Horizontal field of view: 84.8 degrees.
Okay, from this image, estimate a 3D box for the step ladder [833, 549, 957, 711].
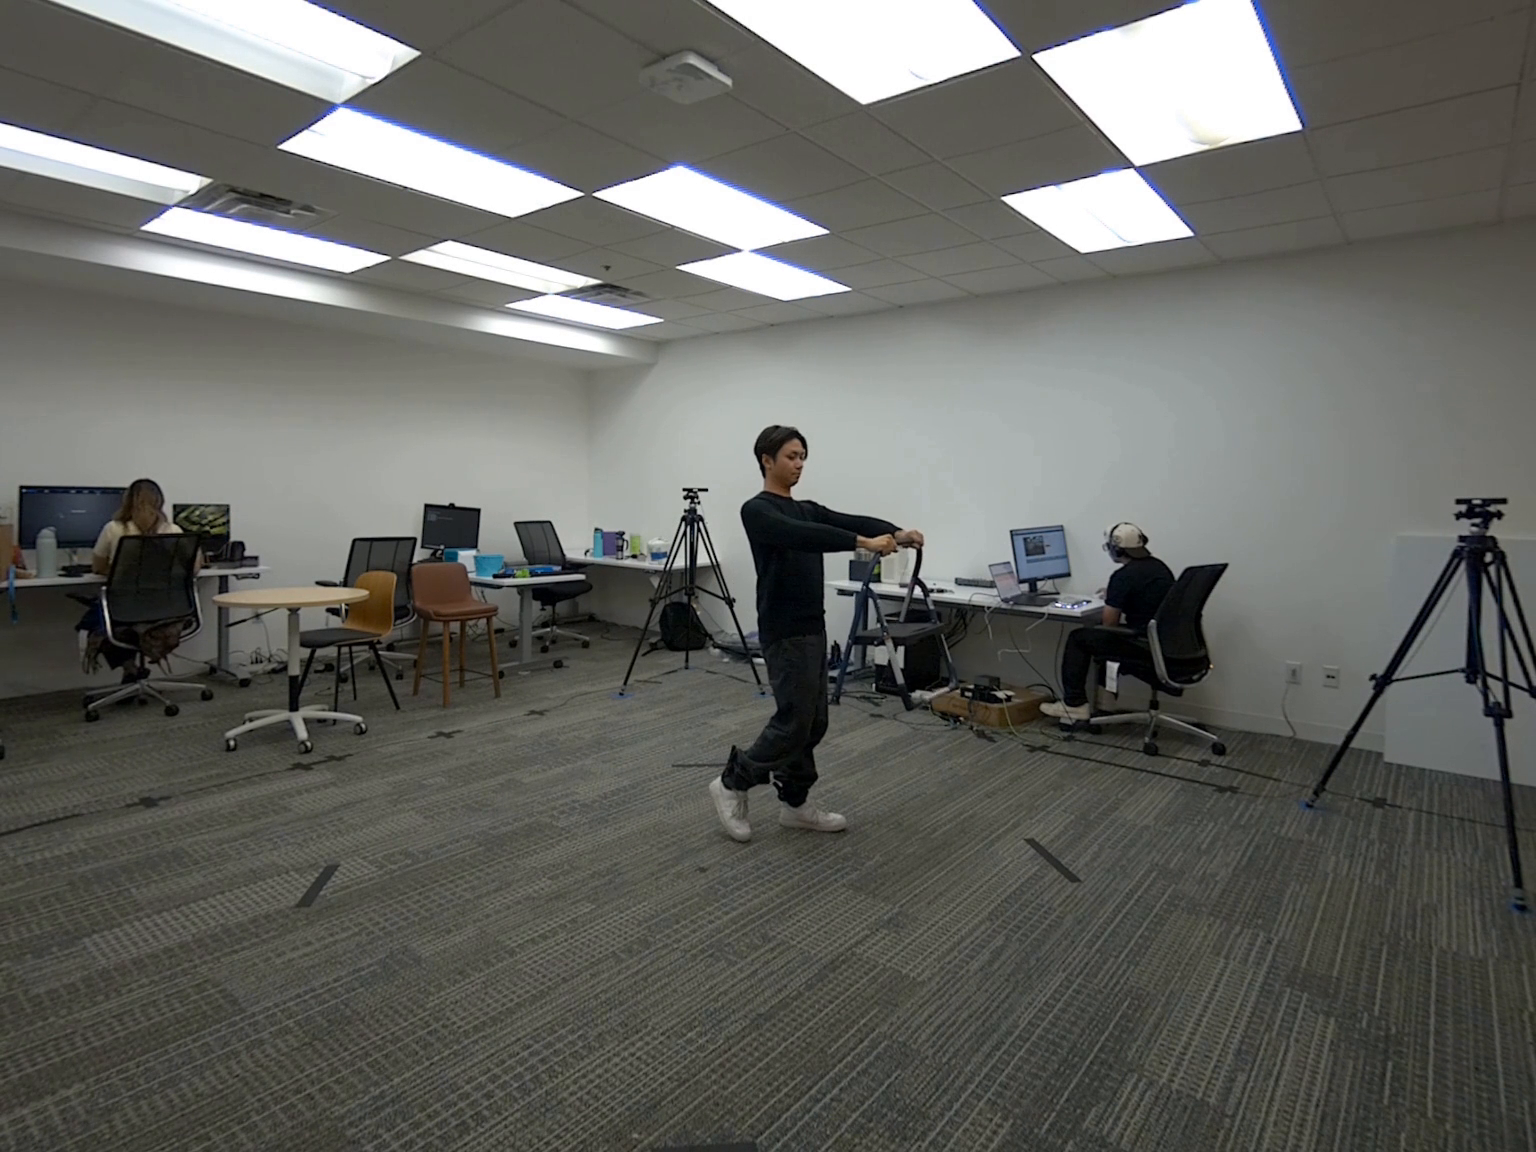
[{"bbox_3d":[0.455,0.162,3.269,0.359,0.605,0.419,-4,2,37],"label":"step ladder"}]
